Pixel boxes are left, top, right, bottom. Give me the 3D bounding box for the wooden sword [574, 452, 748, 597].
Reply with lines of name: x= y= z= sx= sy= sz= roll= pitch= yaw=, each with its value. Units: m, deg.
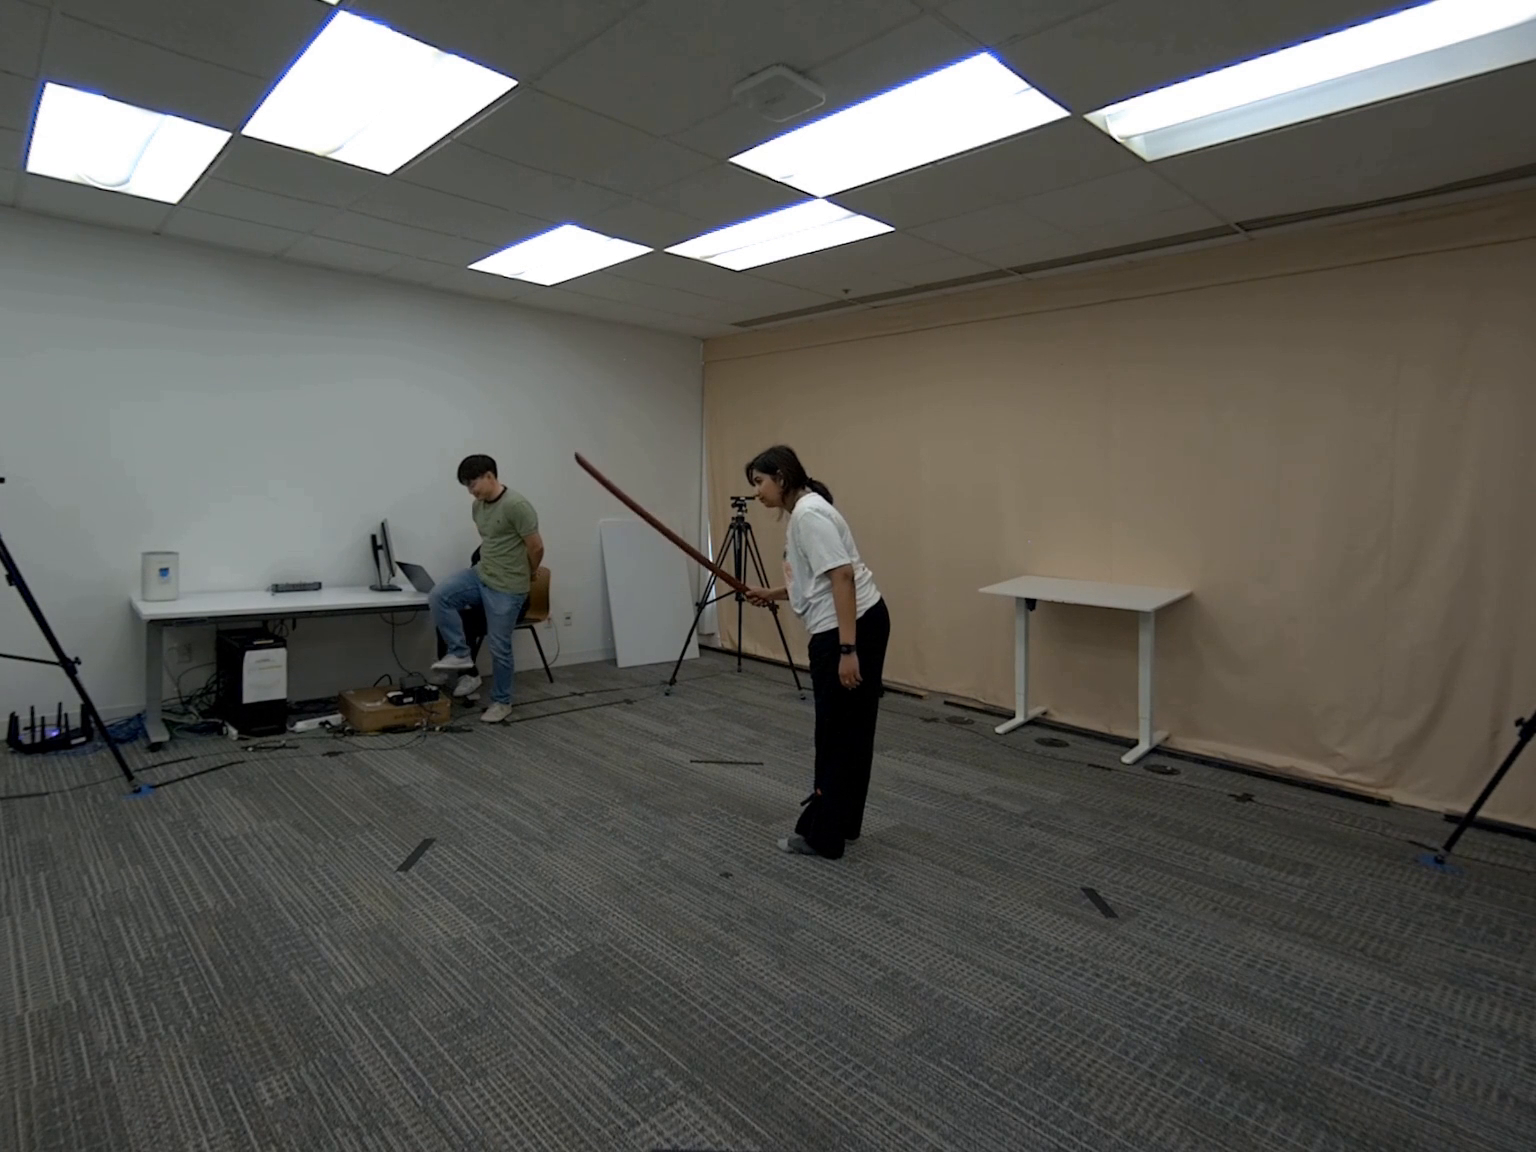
wooden sword: x=-0.383 y=-0.158 z=3.360 sx=1.003 sy=0.051 sz=0.024 roll=40 pitch=-3 yaw=-21
